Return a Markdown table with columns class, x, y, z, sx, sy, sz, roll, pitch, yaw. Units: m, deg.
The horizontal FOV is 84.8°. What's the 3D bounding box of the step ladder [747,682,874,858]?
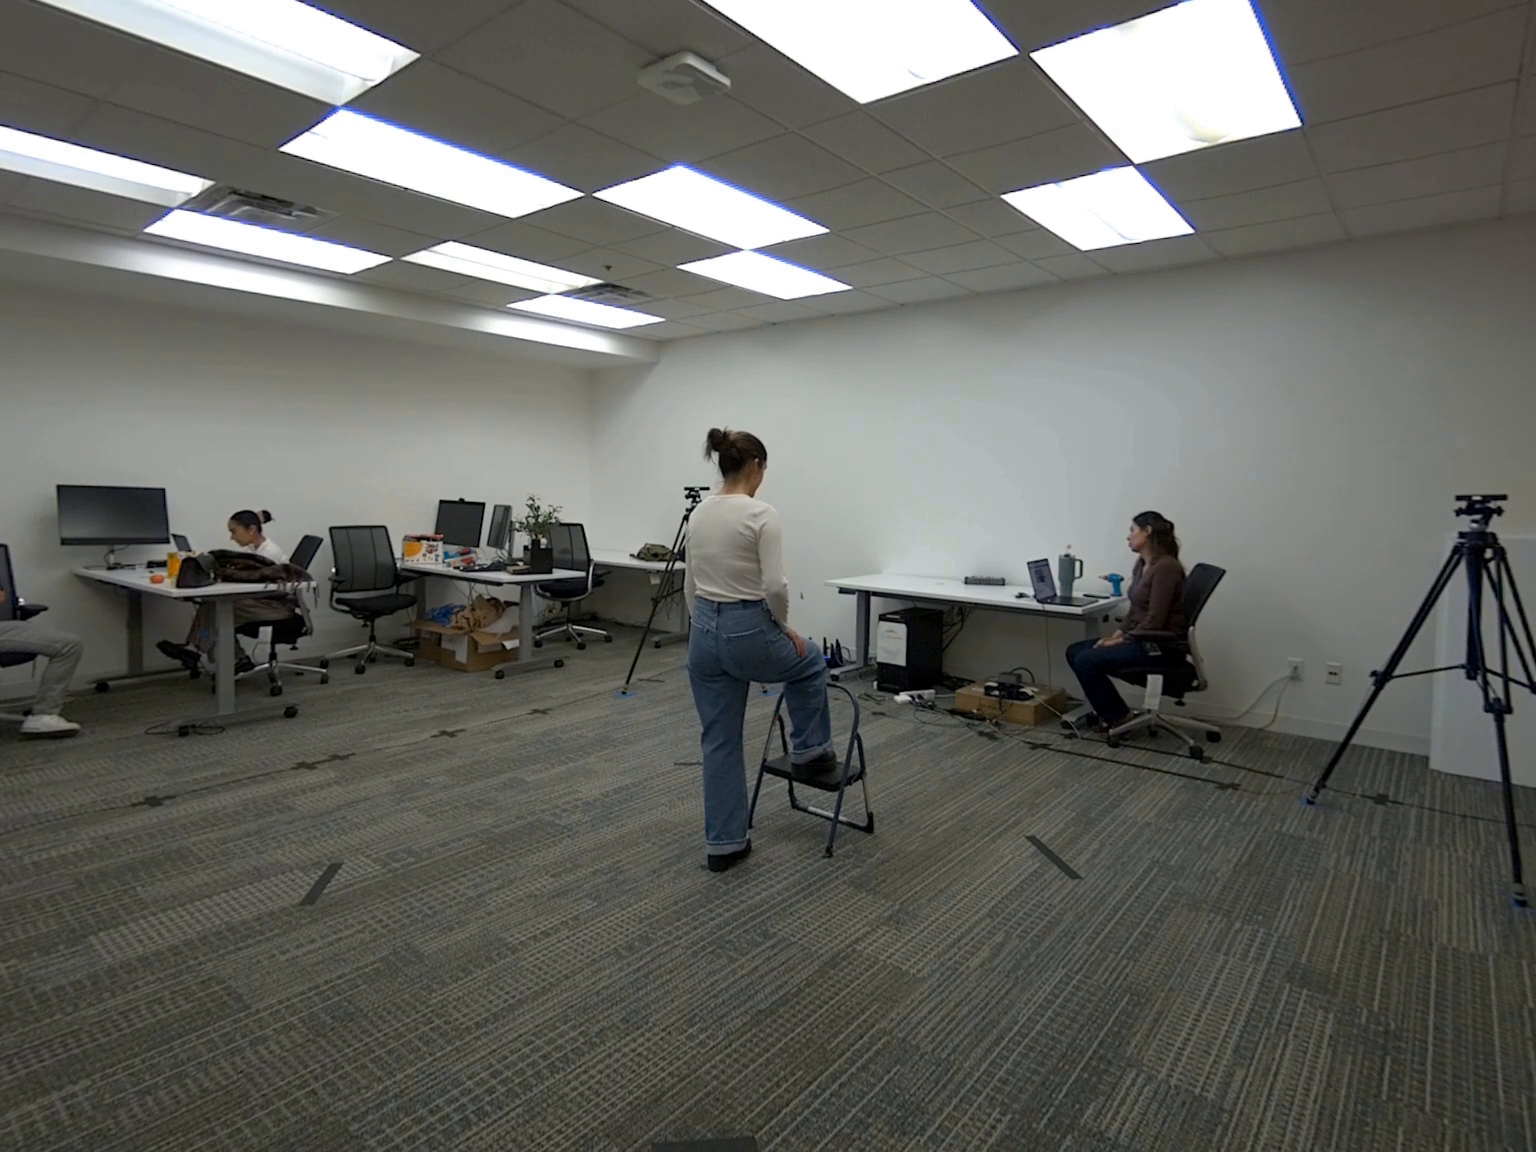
| class | x | y | z | sx | sy | sz | roll | pitch | yaw |
| --- | --- | --- | --- | --- | --- | --- | --- | --- | --- |
| step ladder | 0.168 | 0.734 | 3.464 | 0.445 | 0.604 | 0.339 | 4 | 5 | 39 |
